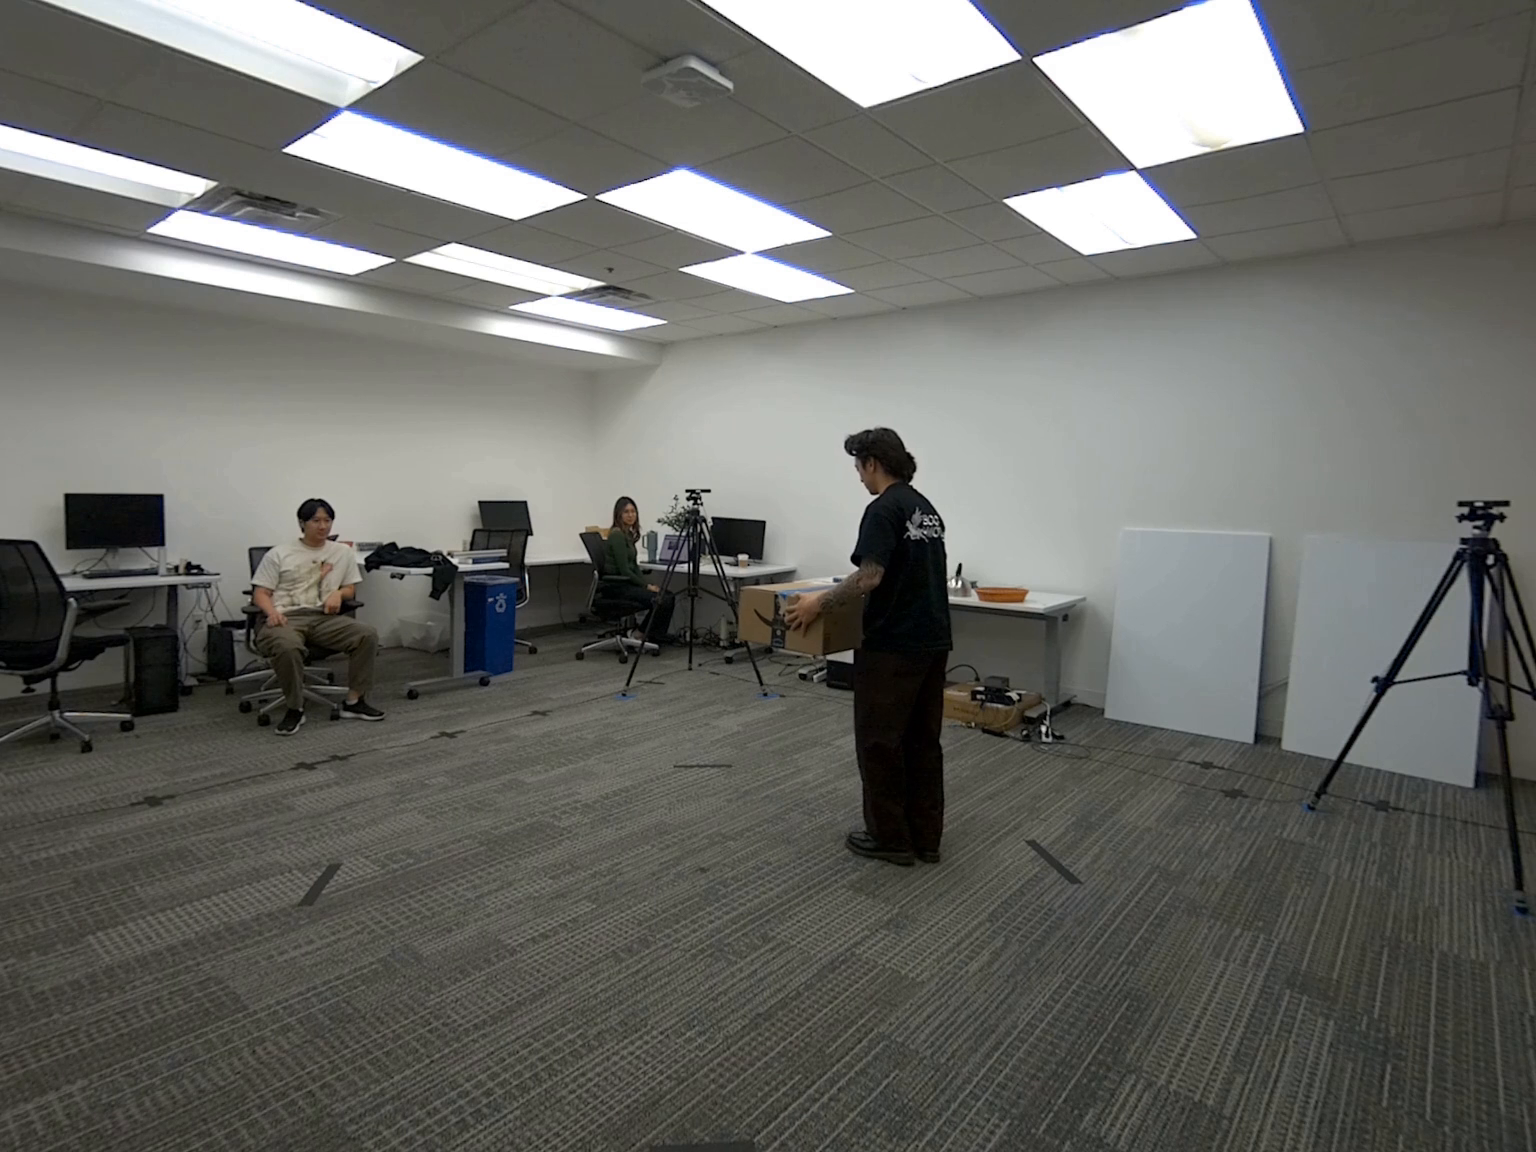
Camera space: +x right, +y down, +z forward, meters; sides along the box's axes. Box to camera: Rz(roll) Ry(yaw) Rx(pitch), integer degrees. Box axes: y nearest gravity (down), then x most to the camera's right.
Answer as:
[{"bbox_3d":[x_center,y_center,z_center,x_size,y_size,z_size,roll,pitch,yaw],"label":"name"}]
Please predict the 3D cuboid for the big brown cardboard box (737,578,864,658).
[{"bbox_3d":[0.196,0.155,3.546,0.432,0.232,0.572,8,9,38],"label":"big brown cardboard box"}]
